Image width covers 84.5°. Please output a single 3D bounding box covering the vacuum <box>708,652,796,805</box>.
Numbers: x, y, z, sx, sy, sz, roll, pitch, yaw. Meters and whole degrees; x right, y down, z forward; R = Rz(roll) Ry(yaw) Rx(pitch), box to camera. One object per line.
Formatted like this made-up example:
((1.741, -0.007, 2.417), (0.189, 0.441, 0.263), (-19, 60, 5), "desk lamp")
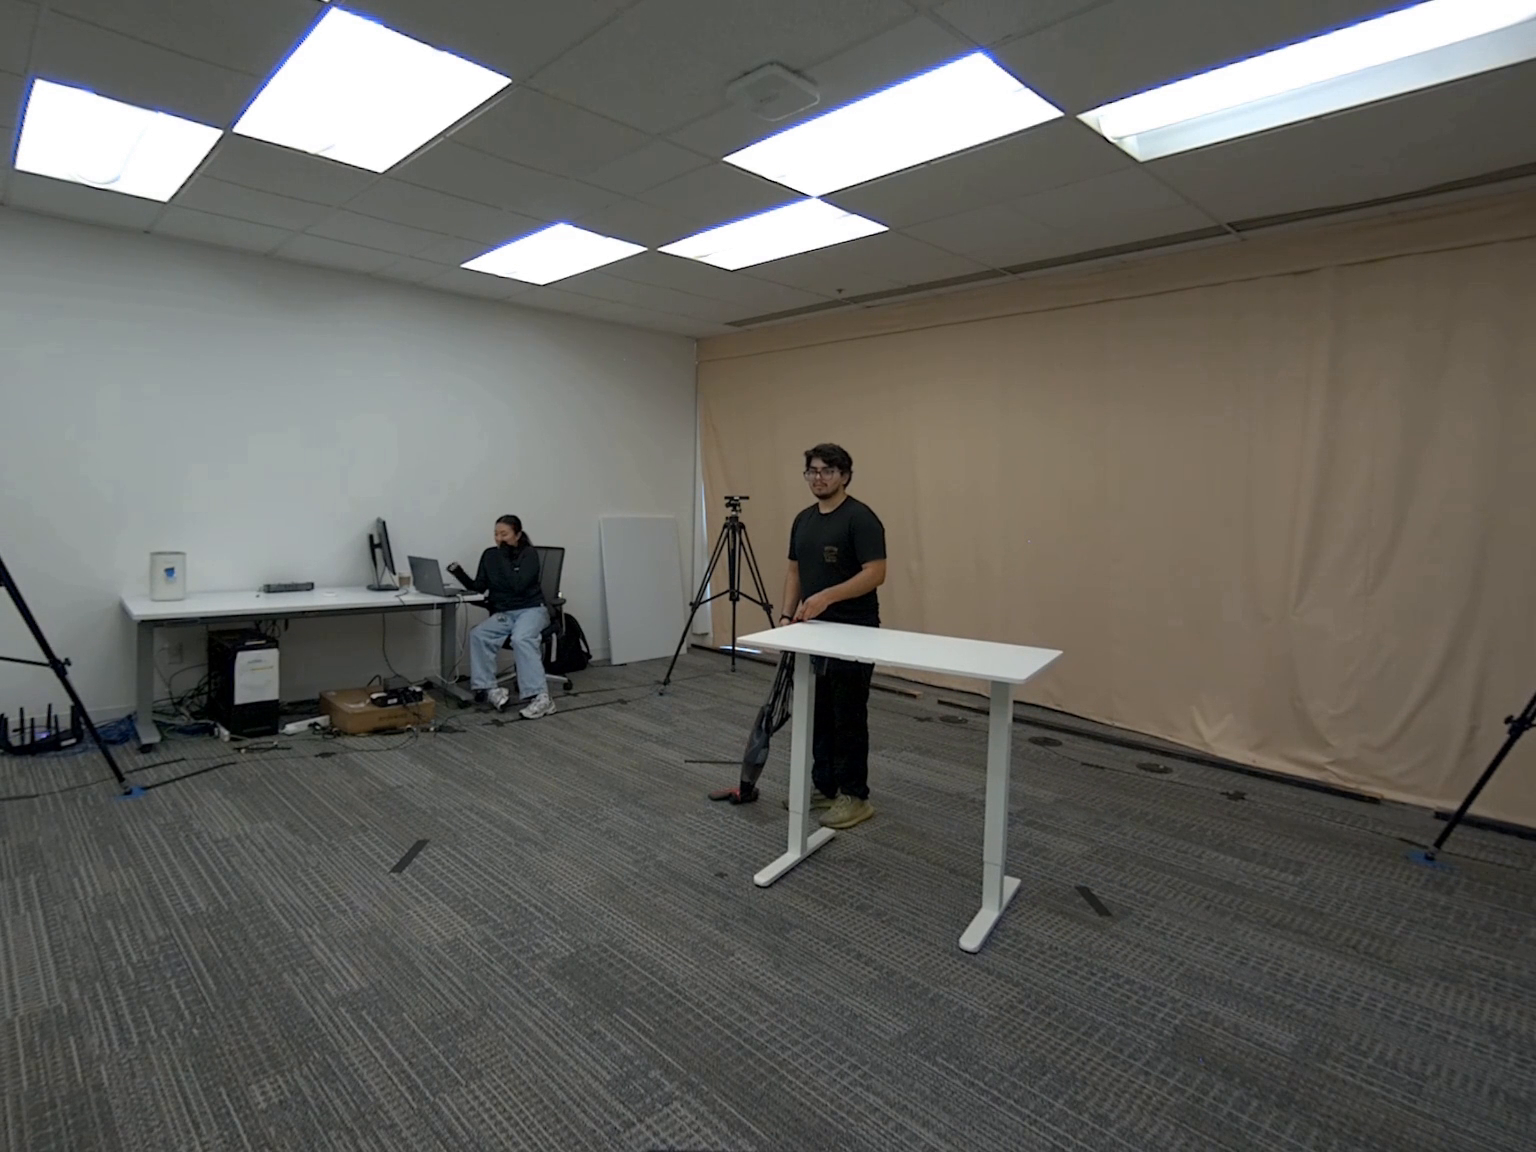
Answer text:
((0.005, 0.595, 3.664), (0.247, 1.038, 0.148), (-6, 39, -40), "vacuum")
